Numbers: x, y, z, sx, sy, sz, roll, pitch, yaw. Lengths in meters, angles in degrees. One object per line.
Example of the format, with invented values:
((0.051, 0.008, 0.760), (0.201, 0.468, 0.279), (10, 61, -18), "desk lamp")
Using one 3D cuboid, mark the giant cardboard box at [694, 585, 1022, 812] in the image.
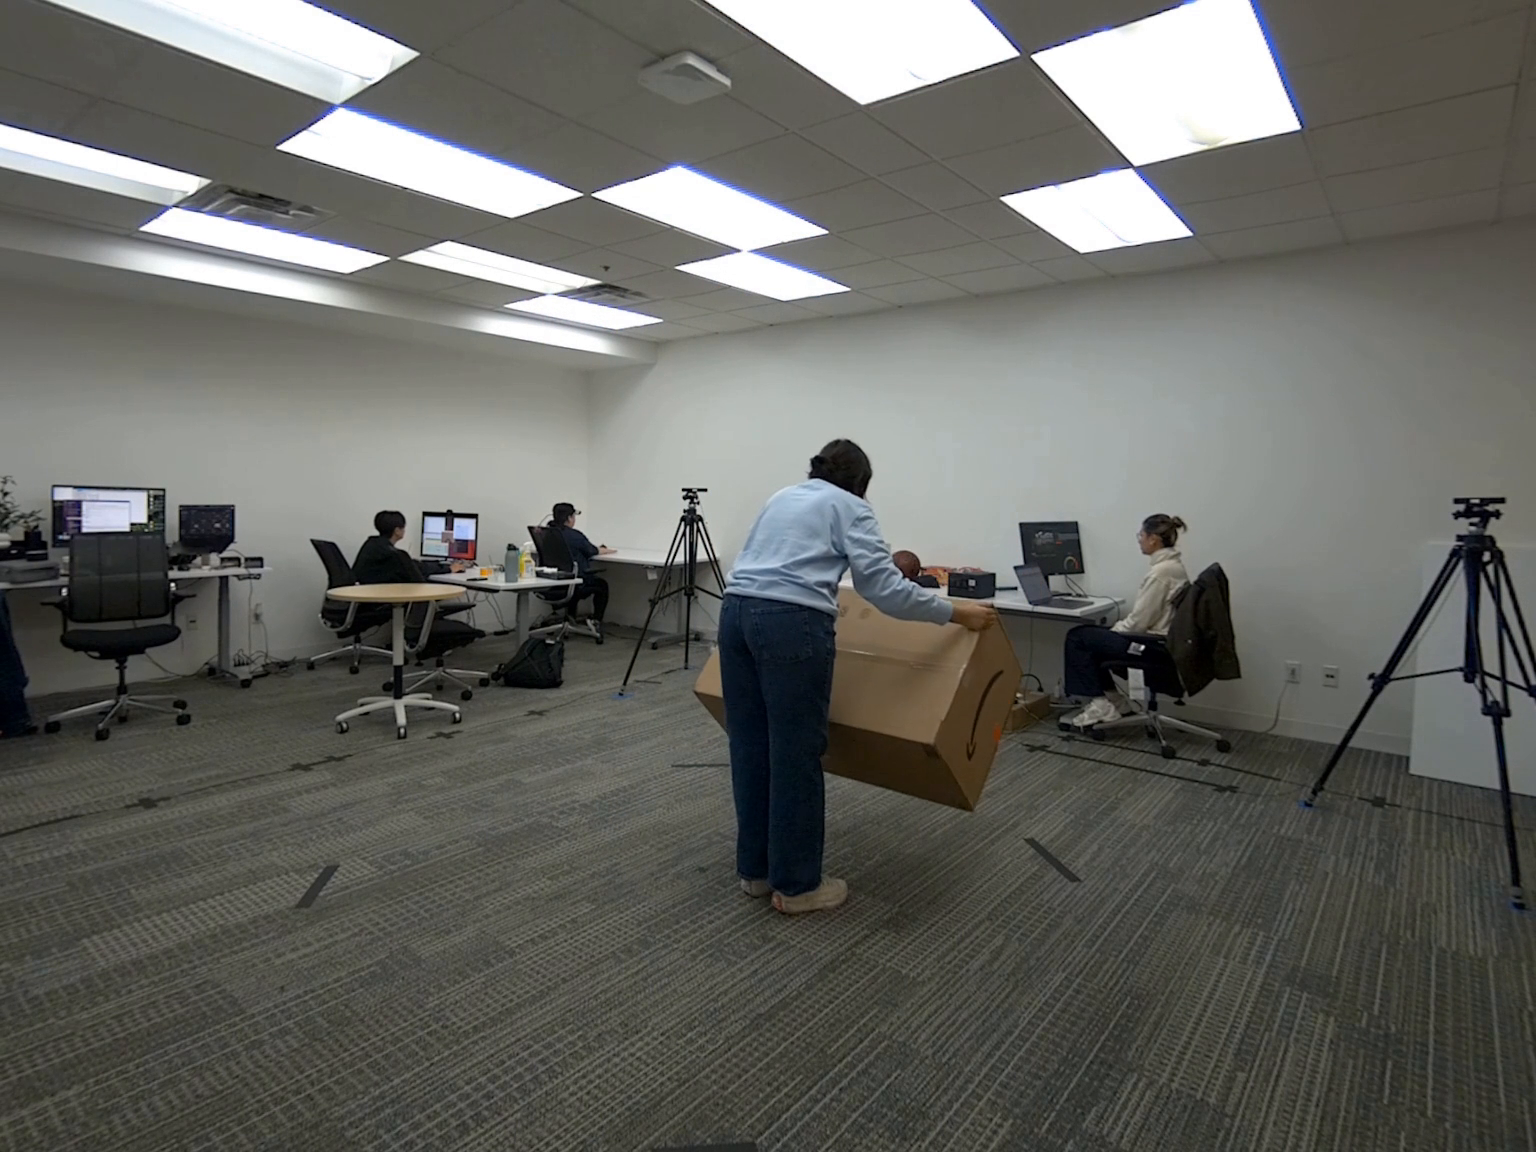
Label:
((0.318, 0.400, 3.206), (1.060, 0.581, 0.409), (5, -39, 39), "giant cardboard box")
